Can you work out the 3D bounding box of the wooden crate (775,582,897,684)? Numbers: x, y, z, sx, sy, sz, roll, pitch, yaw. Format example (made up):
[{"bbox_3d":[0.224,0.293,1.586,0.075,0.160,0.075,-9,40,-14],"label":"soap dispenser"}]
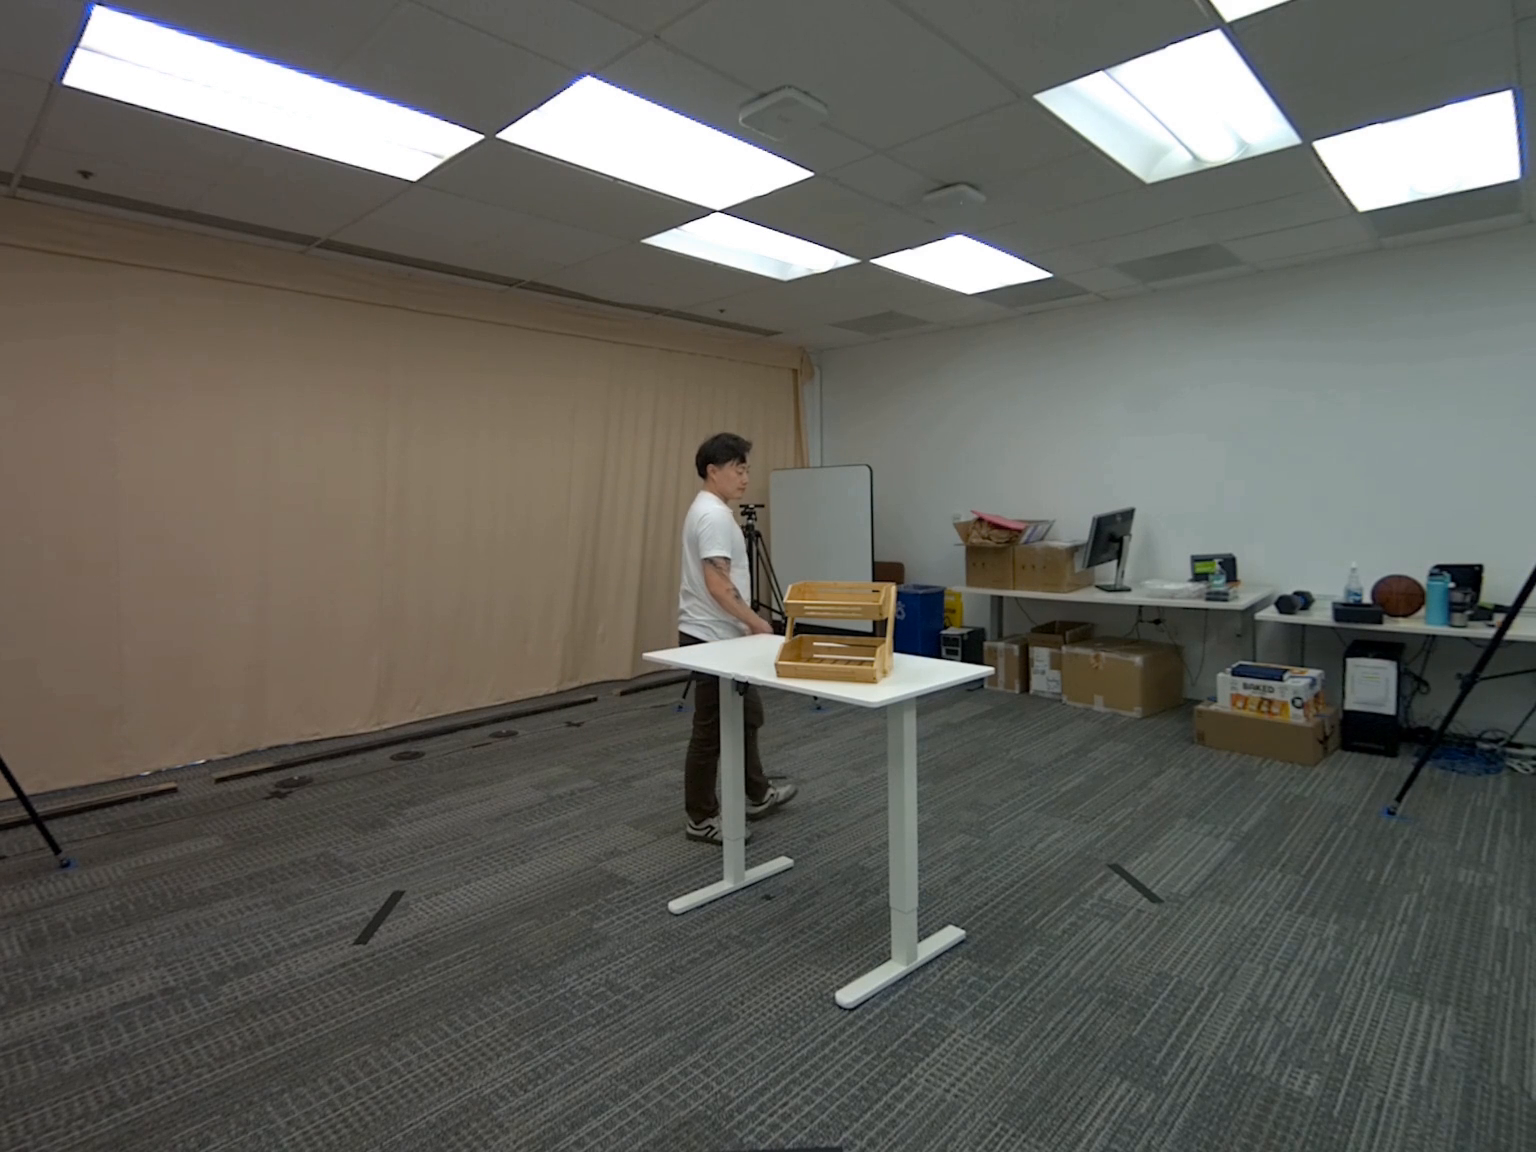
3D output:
[{"bbox_3d":[0.215,0.159,2.546,0.331,0.273,0.296,0,3,21],"label":"wooden crate"}]
